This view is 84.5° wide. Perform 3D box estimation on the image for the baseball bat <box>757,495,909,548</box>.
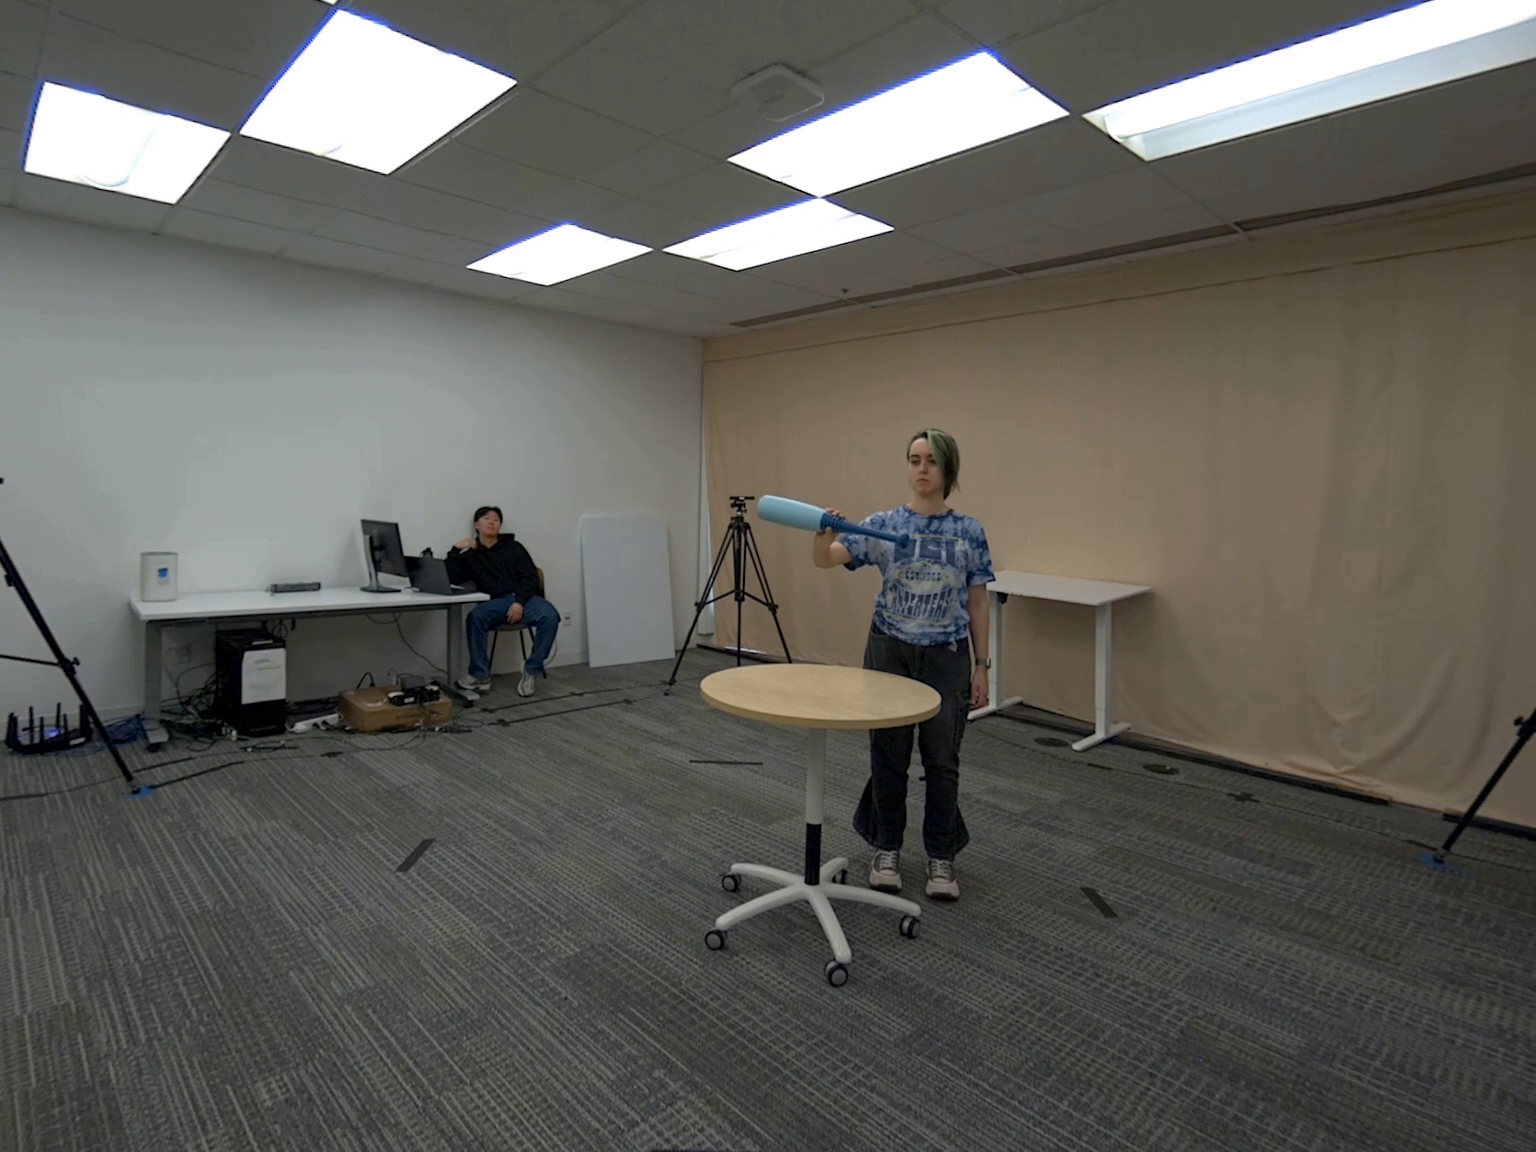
[{"bbox_3d":[0.206,-0.167,2.707,0.557,0.088,0.087,16,12,33],"label":"baseball bat"}]
